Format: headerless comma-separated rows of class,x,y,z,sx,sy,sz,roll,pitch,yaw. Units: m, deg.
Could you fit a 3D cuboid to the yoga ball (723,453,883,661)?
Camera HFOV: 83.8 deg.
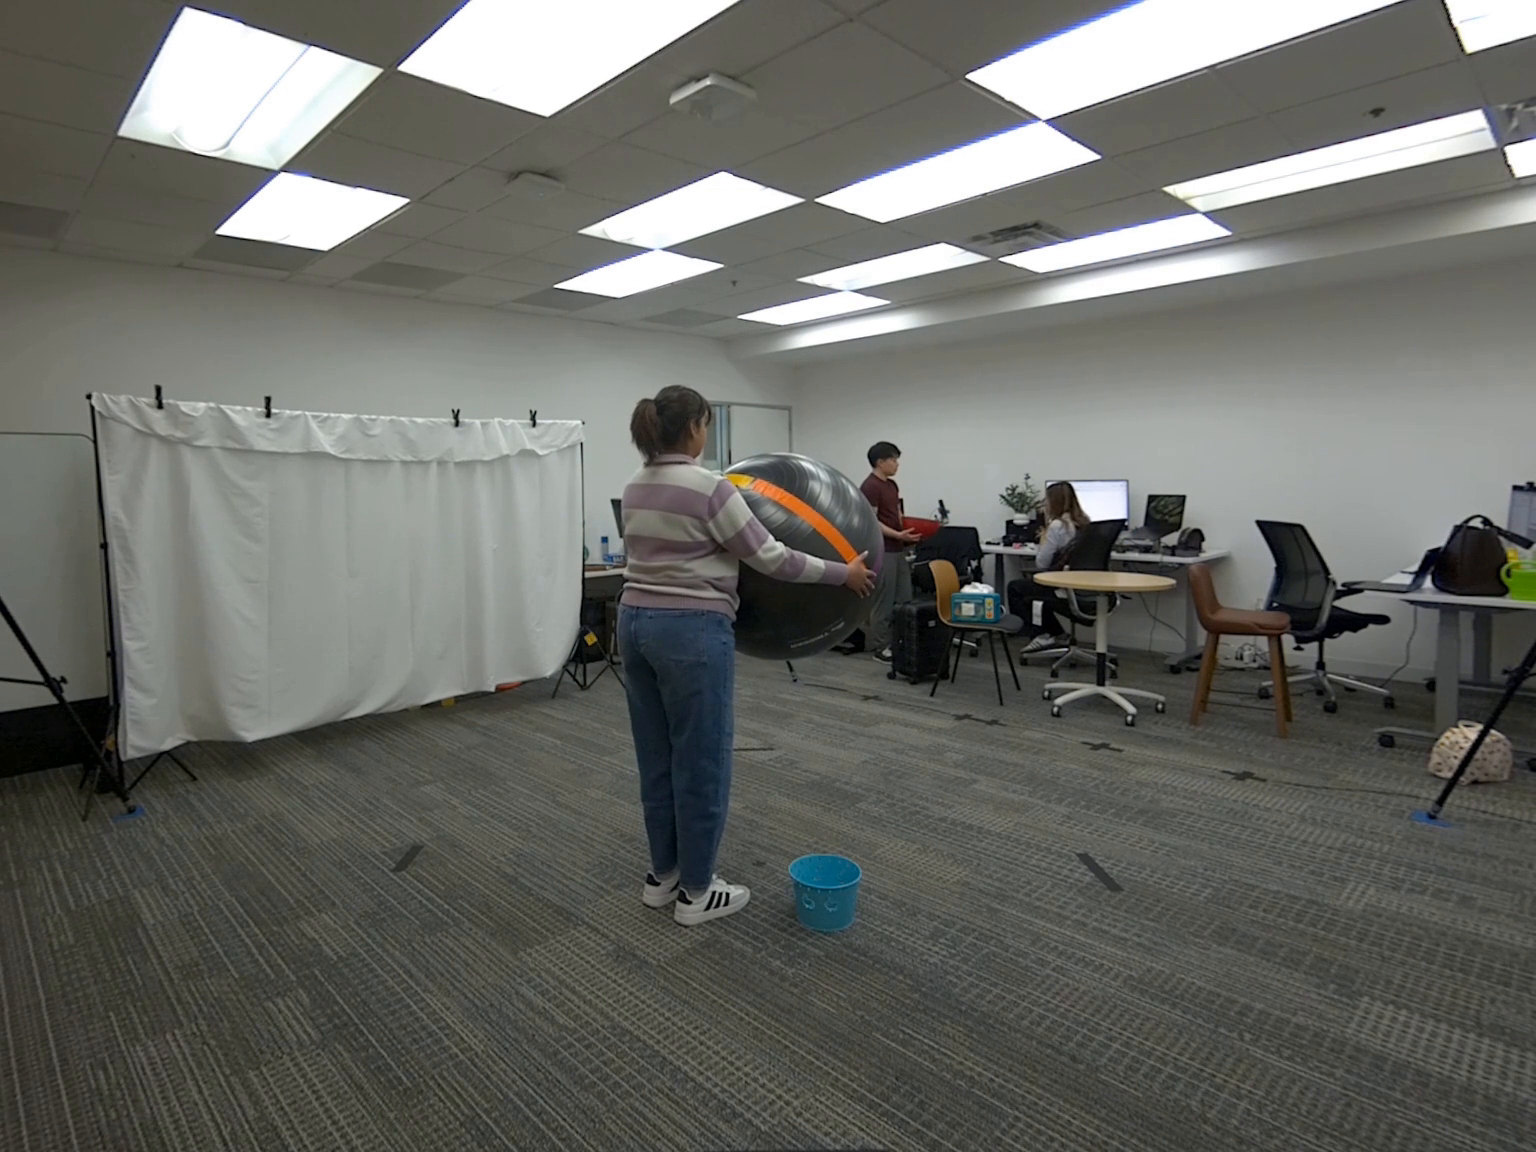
yoga ball,0.042,-0.071,3.142,0.757,0.755,0.762,-1,5,-2
